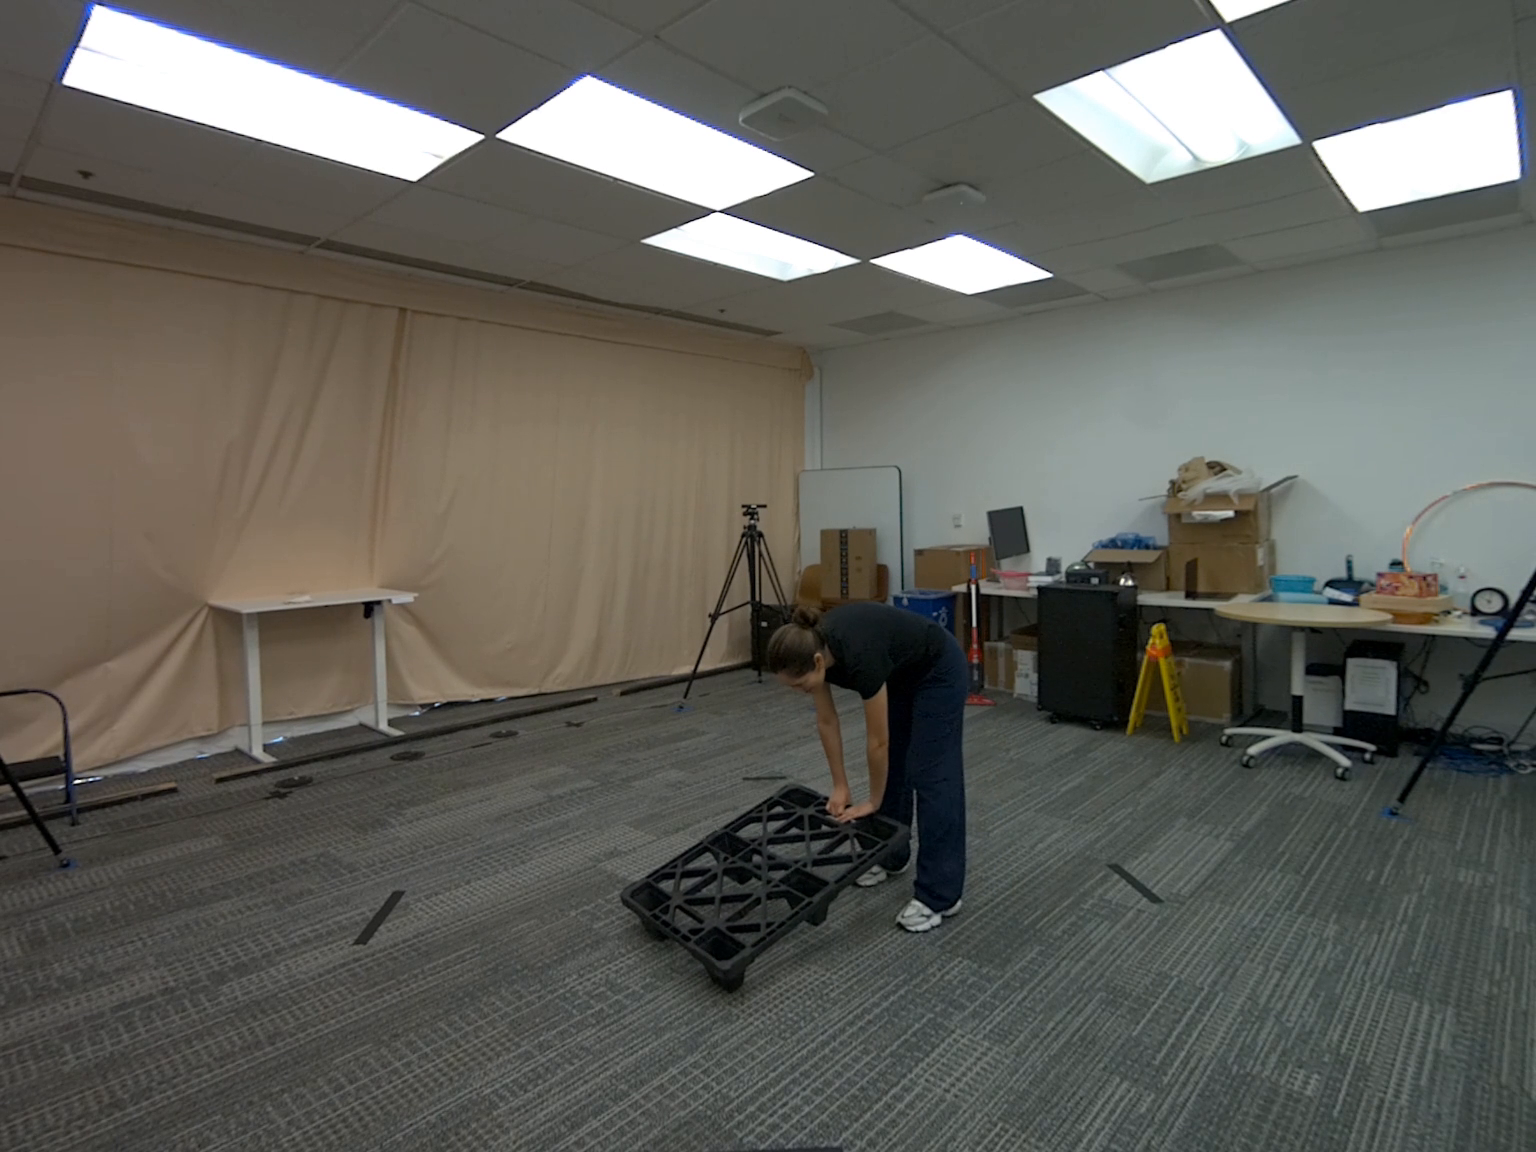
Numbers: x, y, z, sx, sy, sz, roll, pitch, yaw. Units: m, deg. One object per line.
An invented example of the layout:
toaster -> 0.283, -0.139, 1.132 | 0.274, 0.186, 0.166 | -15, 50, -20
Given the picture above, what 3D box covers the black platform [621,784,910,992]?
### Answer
black platform -> 0.012, 1.005, 2.780 | 0.789, 0.142, 0.624 | -24, 16, -35
